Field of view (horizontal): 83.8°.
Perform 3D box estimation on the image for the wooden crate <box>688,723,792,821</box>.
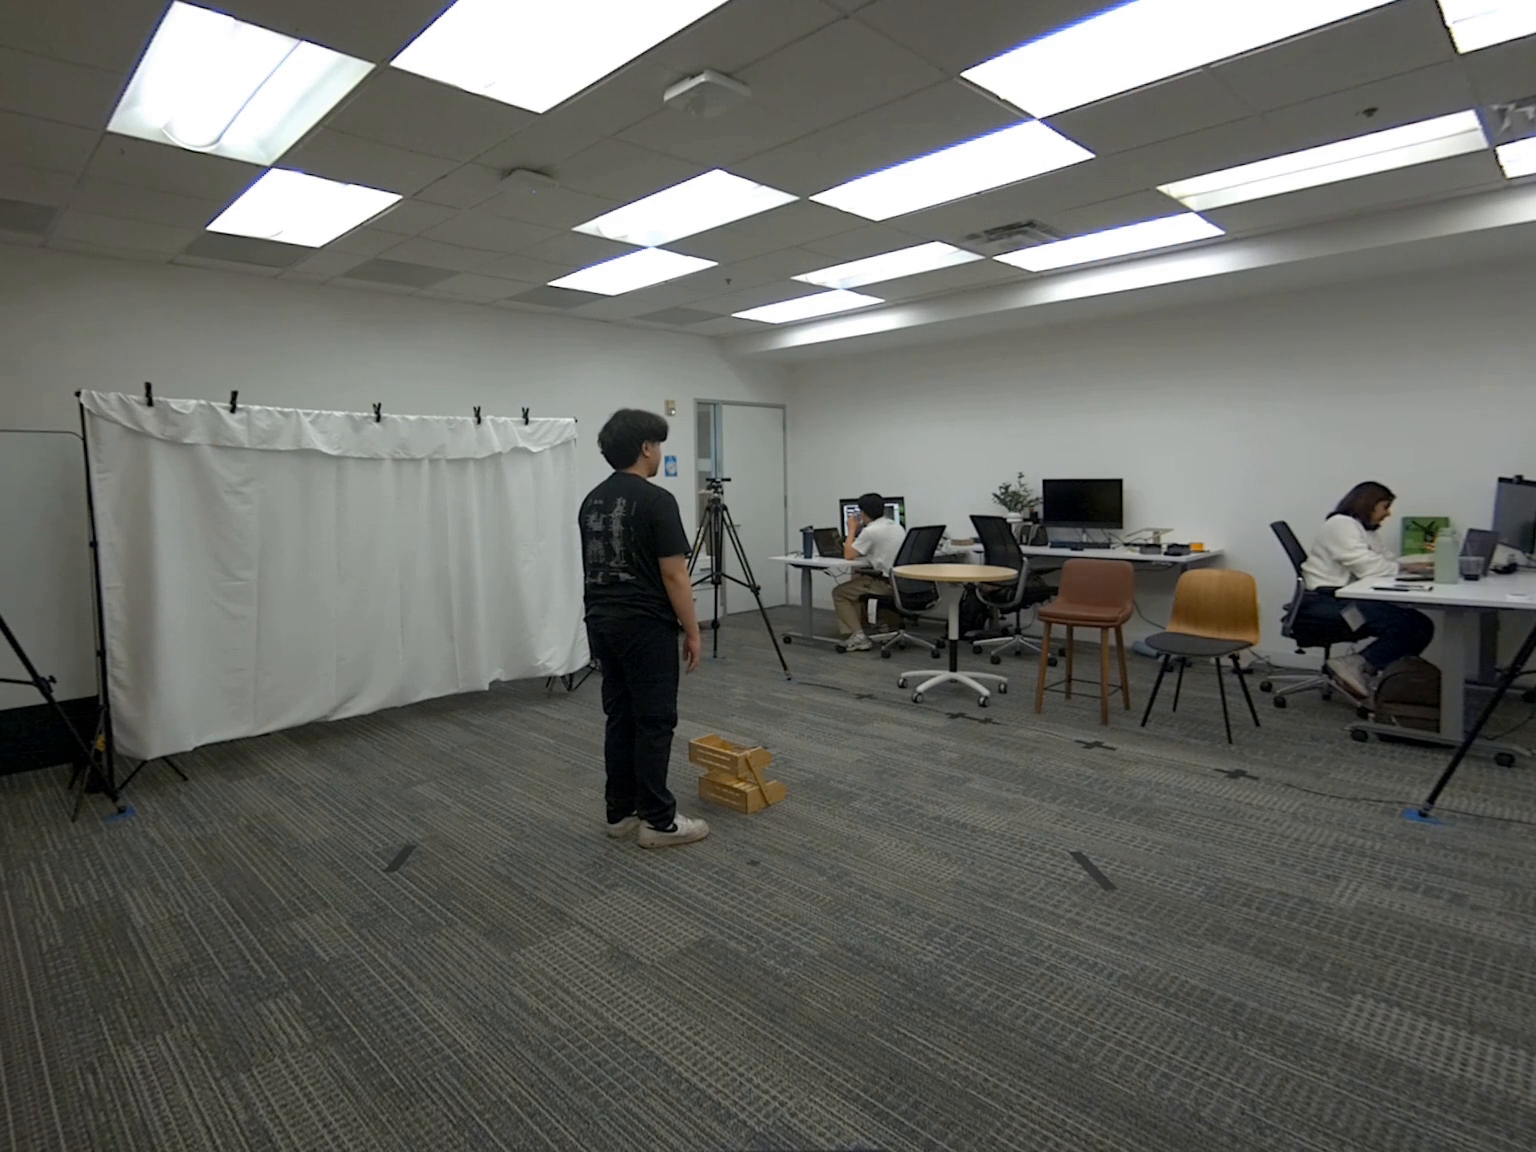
[{"bbox_3d":[-0.125,0.838,3.728,0.334,0.272,0.294,4,8,44],"label":"wooden crate"}]
